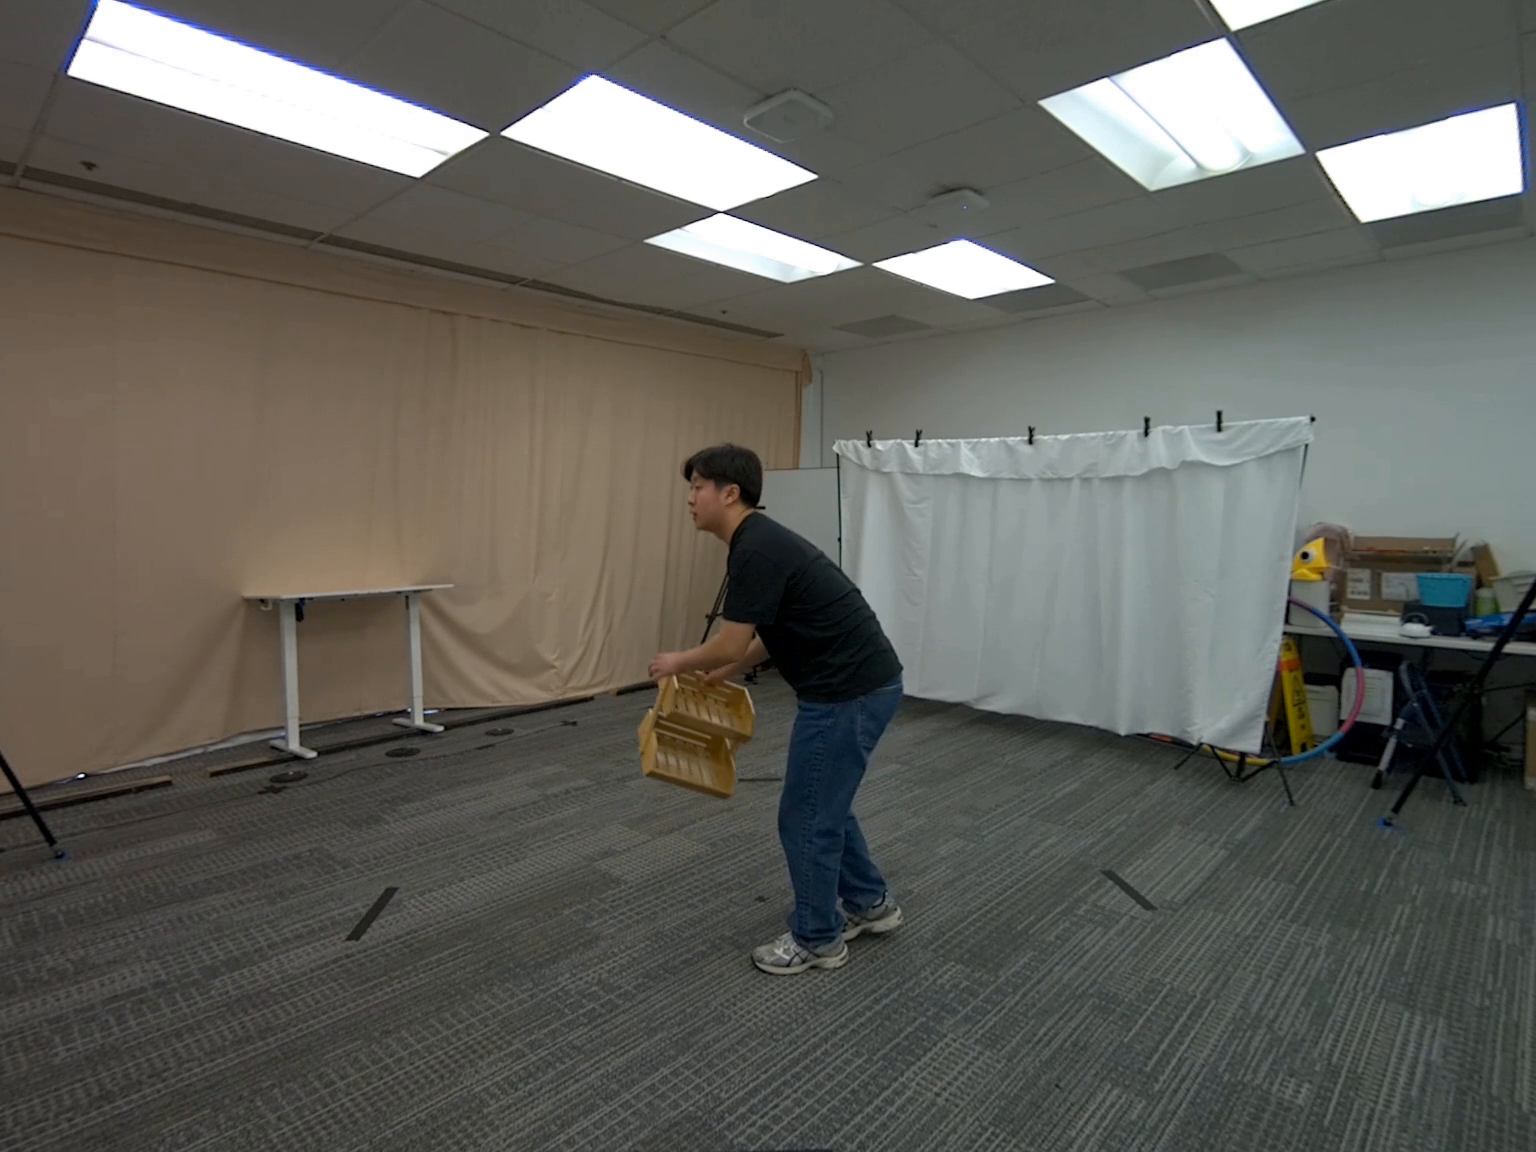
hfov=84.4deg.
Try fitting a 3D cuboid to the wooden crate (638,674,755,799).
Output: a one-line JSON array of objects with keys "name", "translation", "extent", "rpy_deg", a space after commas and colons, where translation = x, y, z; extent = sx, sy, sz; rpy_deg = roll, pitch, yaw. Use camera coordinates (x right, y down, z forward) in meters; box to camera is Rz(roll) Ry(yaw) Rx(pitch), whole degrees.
[{"name": "wooden crate", "translation": [-0.224, 0.521, 2.765], "extent": [0.316, 0.273, 0.310], "rpy_deg": [22, 21, -22]}]
